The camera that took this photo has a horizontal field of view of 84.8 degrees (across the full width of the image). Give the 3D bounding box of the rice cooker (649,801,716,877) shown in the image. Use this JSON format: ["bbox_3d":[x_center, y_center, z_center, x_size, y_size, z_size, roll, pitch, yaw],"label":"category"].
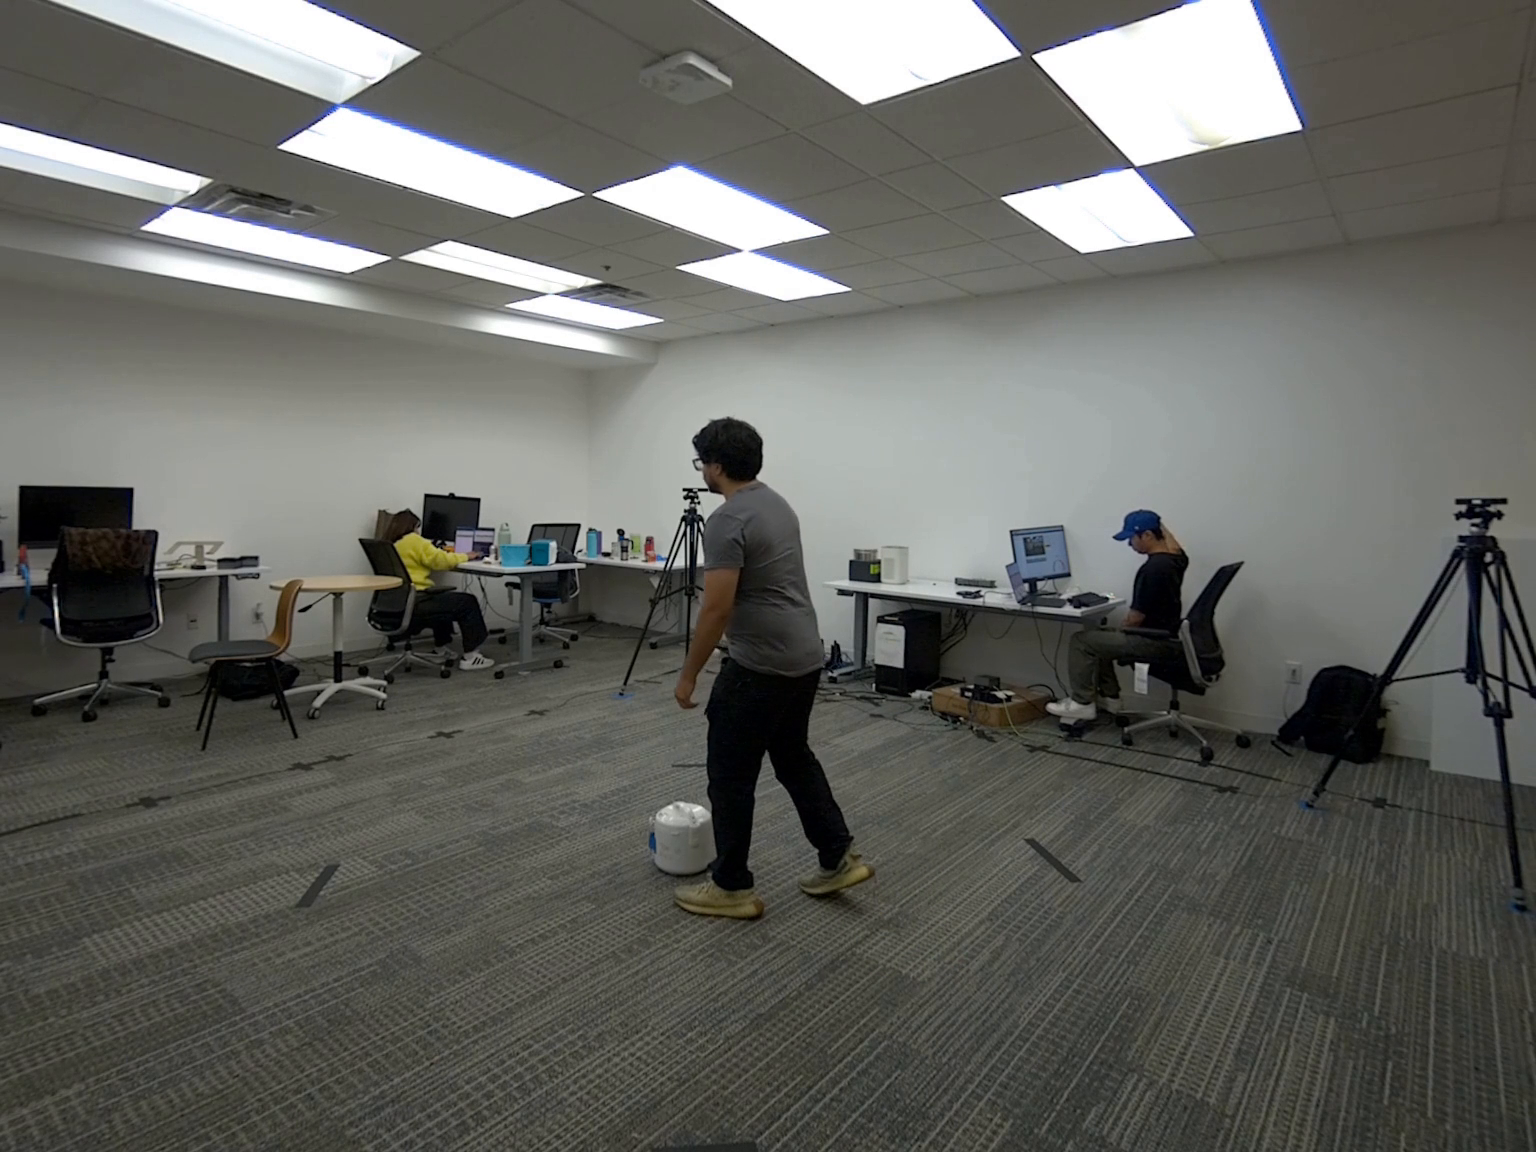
[{"bbox_3d":[-0.322,0.947,3.131,0.212,0.232,0.227,-1,5,-27],"label":"rice cooker"}]
